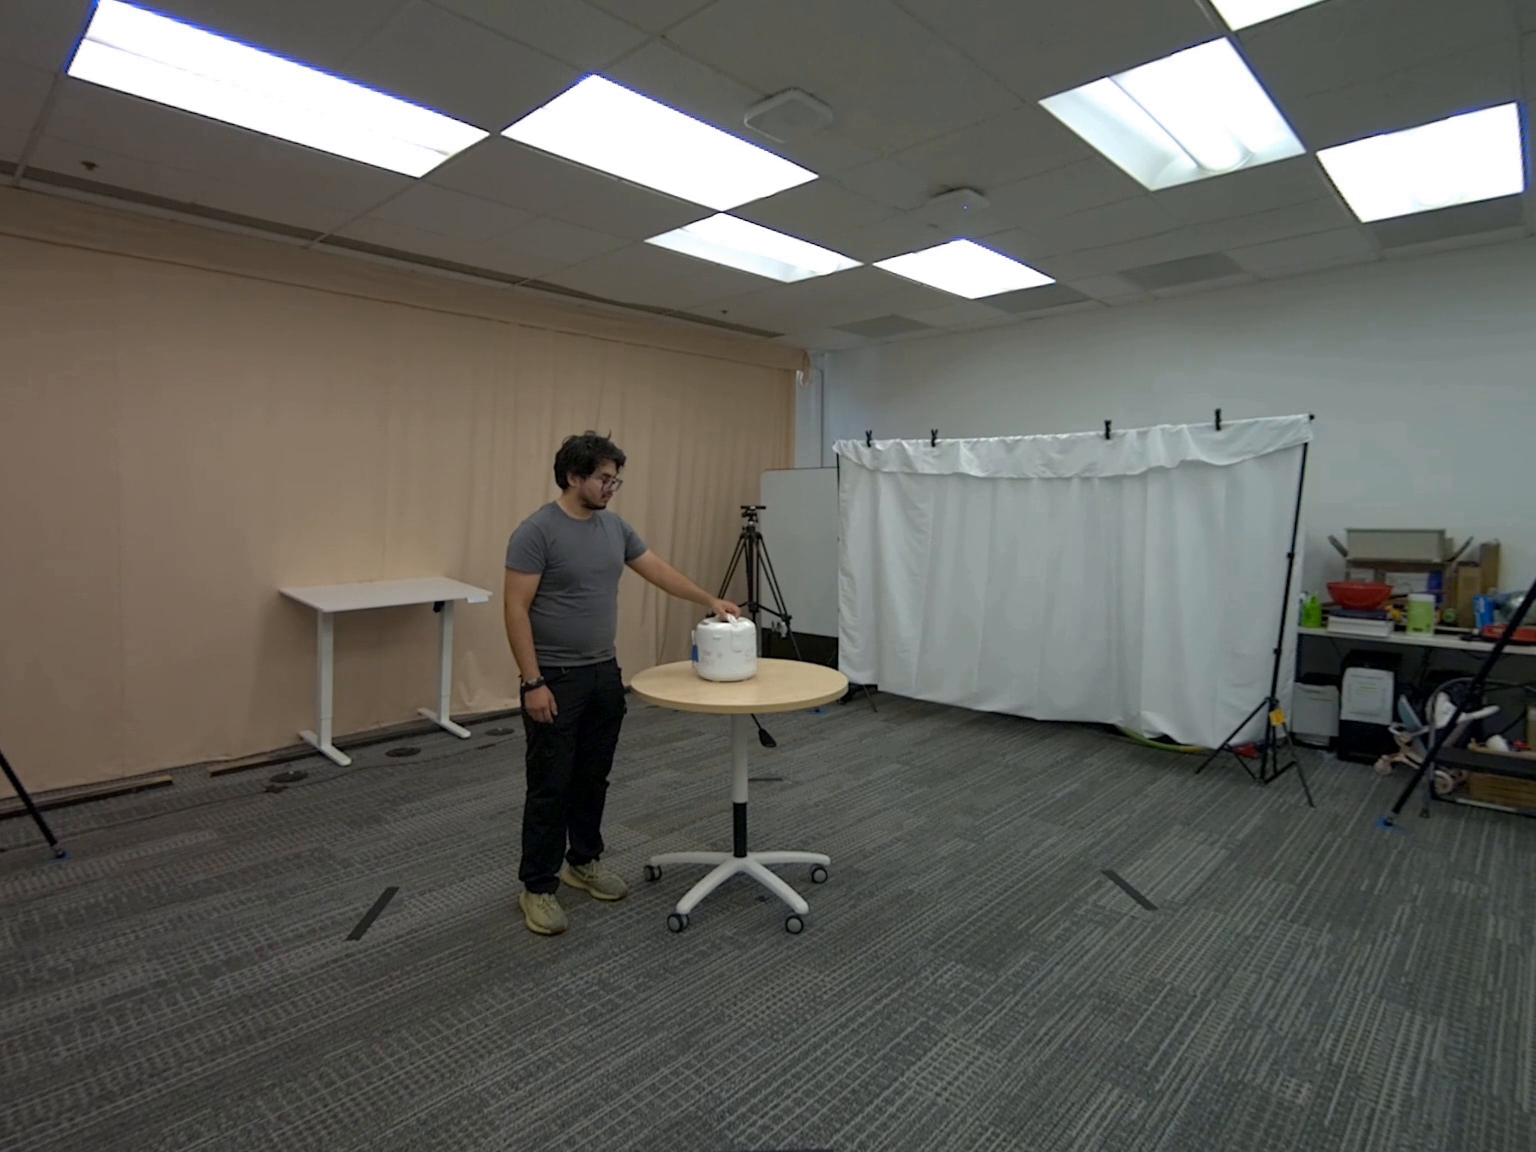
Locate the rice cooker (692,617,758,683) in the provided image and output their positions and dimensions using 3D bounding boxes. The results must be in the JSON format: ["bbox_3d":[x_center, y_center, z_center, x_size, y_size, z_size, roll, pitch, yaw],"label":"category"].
[{"bbox_3d":[-0.145,0.246,2.993,0.213,0.232,0.226,-2,5,-23],"label":"rice cooker"}]
